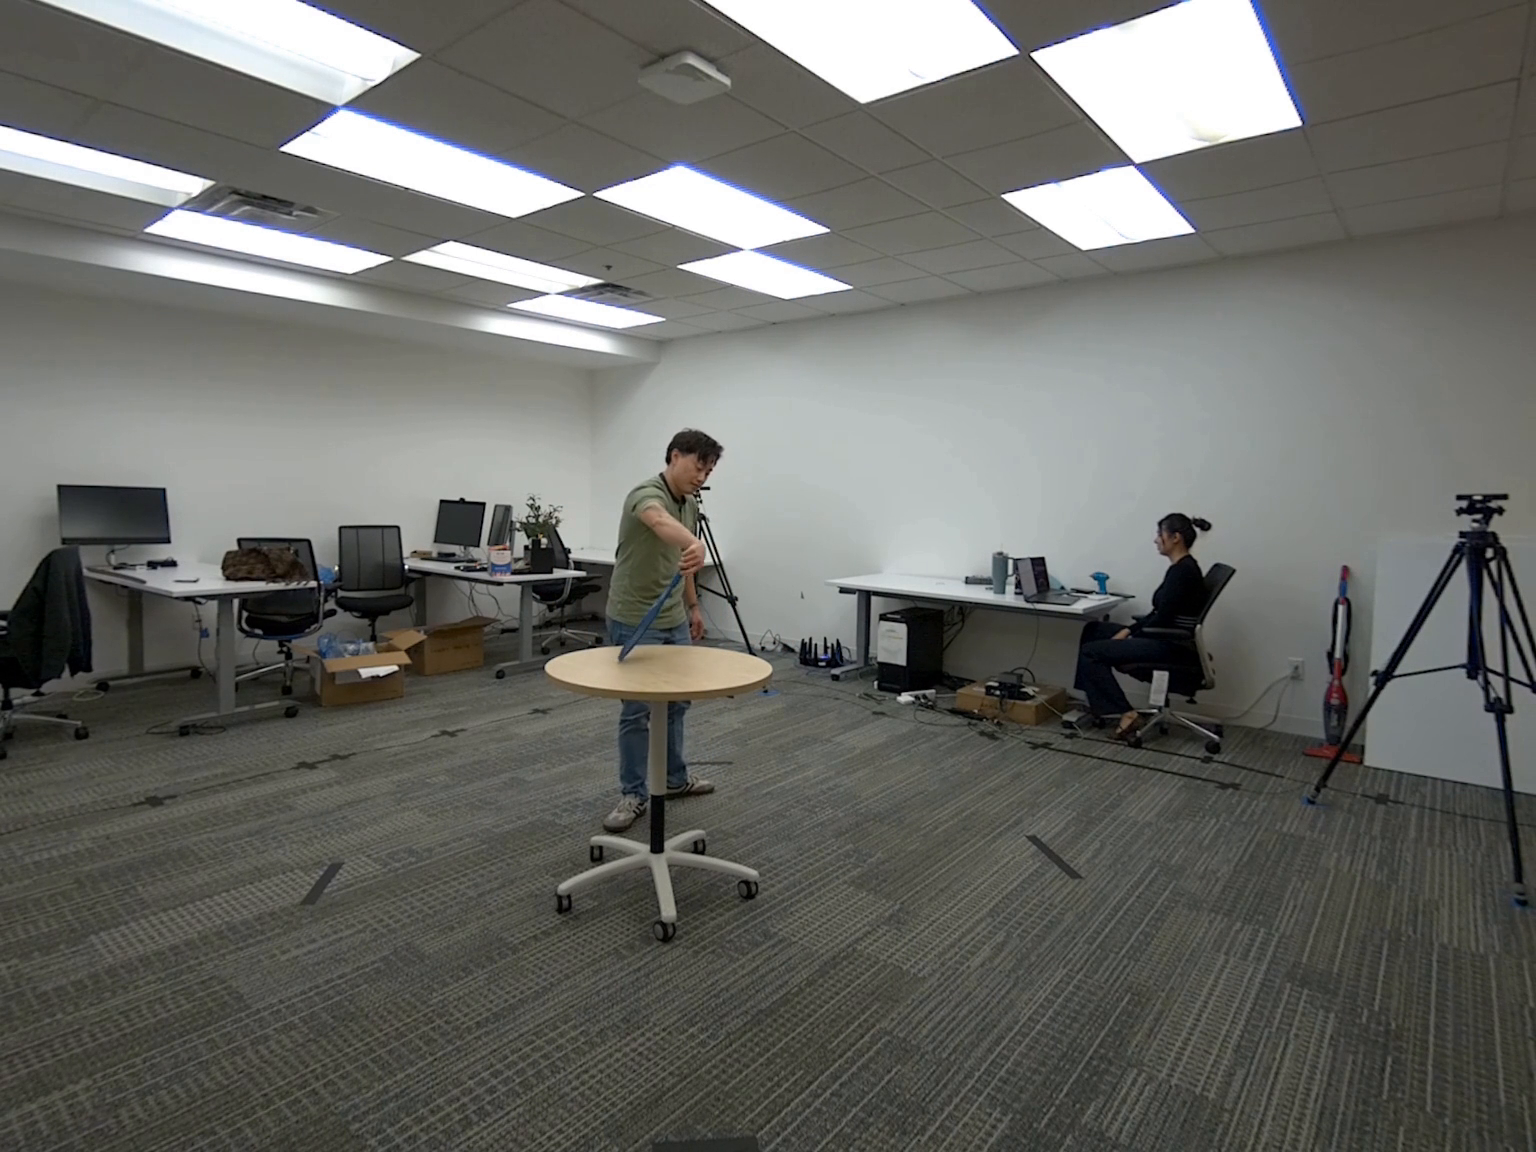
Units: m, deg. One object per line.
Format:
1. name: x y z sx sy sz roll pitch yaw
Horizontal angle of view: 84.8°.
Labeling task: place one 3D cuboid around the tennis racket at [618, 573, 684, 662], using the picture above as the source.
1. tennis racket: -0.404 0.125 2.981 0.032 0.435 0.210 30 -27 8
